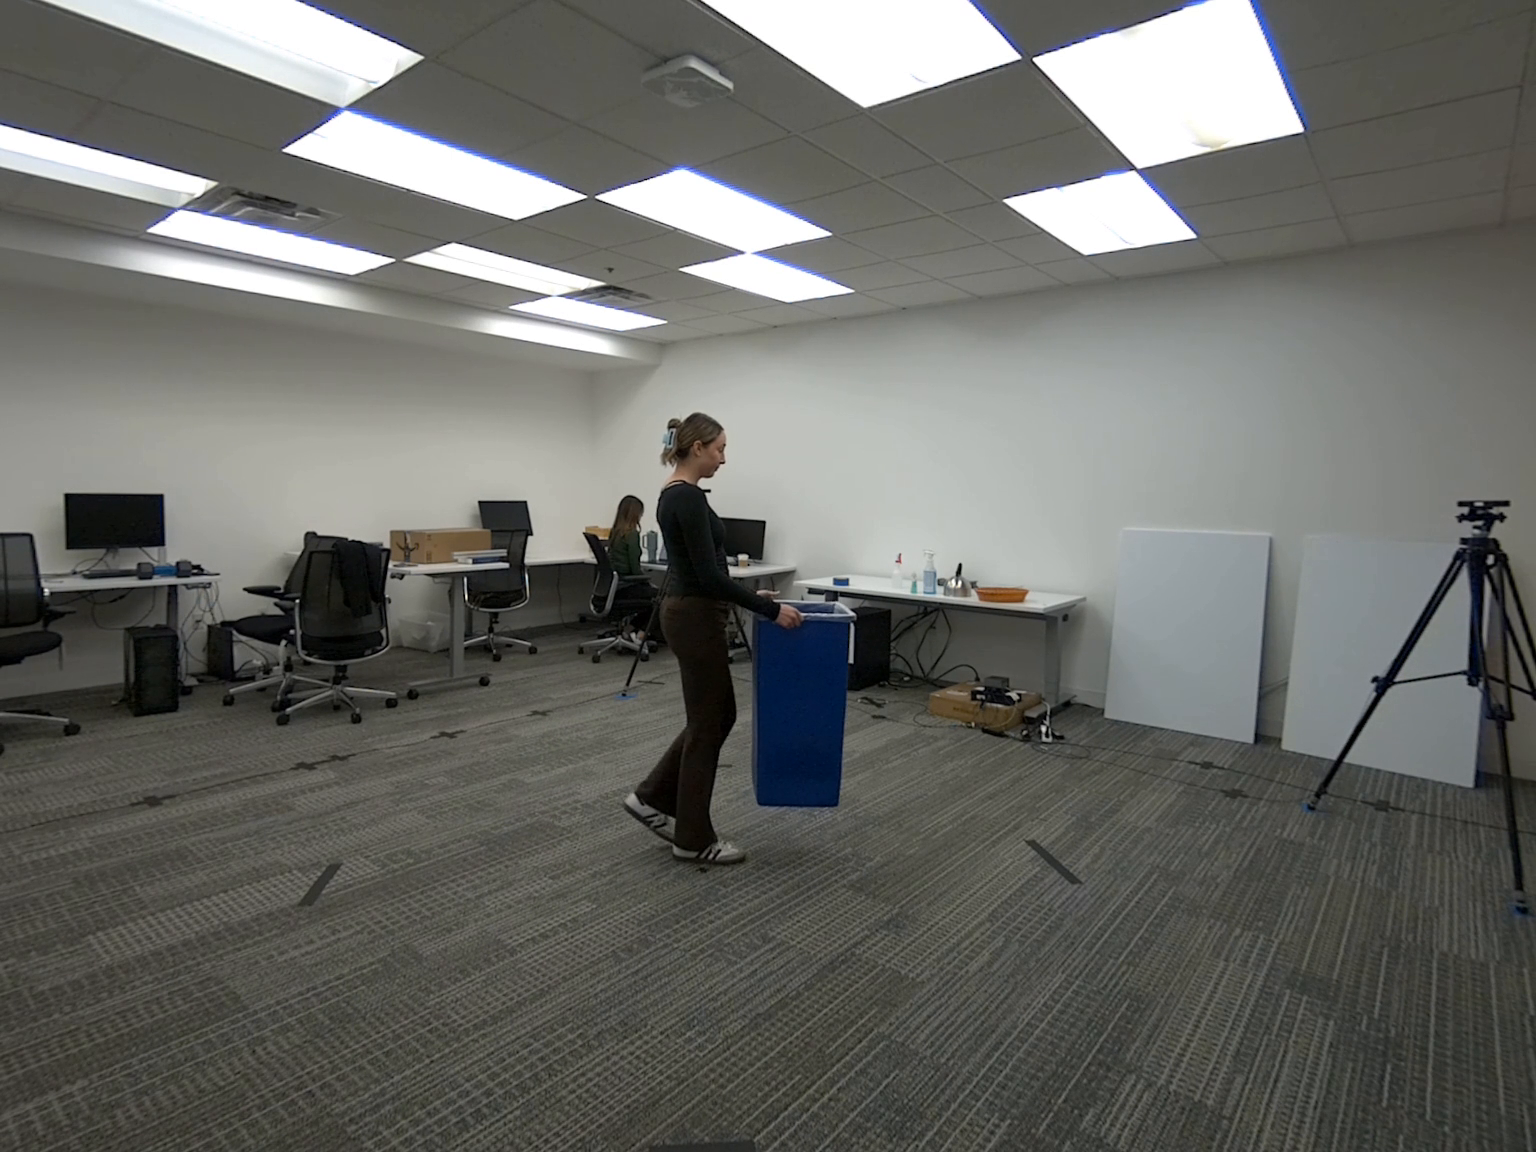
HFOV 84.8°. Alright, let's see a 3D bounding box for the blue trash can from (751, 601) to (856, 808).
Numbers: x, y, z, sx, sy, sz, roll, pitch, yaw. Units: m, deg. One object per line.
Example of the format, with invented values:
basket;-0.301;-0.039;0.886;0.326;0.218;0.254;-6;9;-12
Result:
blue trash can;0.097;0.477;3.238;0.377;0.711;0.377;2;4;-4
